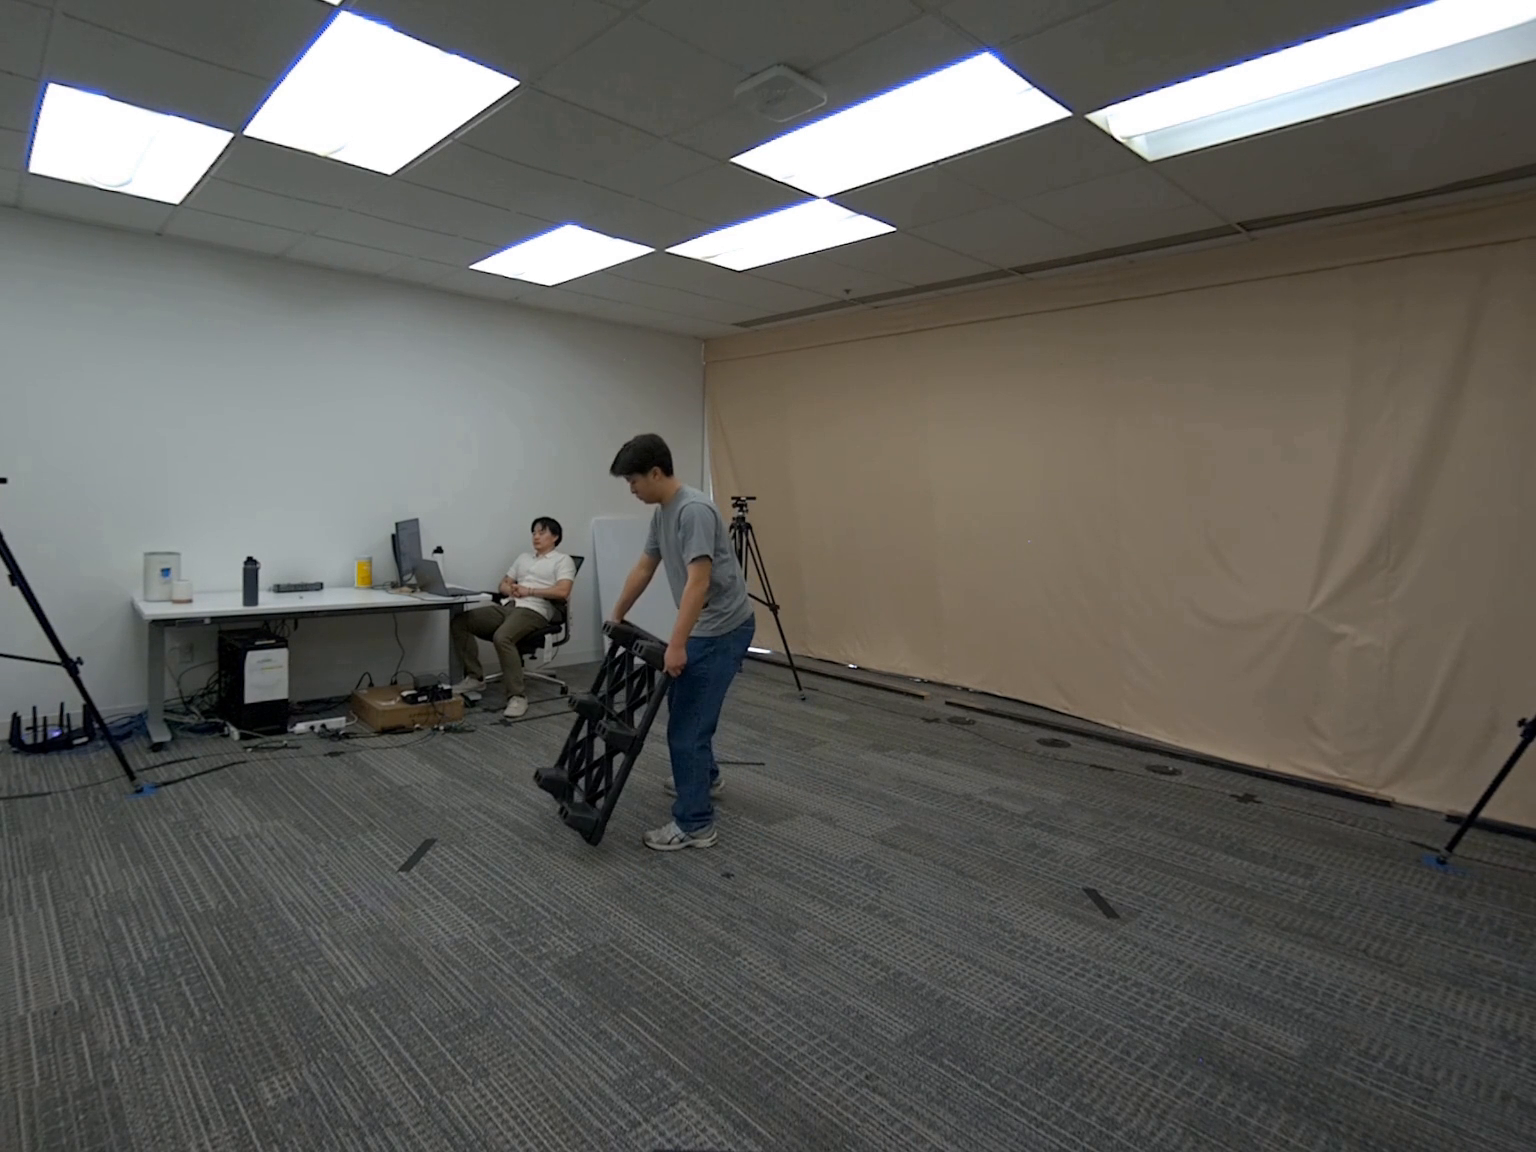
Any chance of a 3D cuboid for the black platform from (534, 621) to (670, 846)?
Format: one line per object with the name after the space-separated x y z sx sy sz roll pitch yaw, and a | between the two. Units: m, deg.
-0.686 0.606 3.427 0.139 0.807 0.620 27 -6 -29 | black platform
